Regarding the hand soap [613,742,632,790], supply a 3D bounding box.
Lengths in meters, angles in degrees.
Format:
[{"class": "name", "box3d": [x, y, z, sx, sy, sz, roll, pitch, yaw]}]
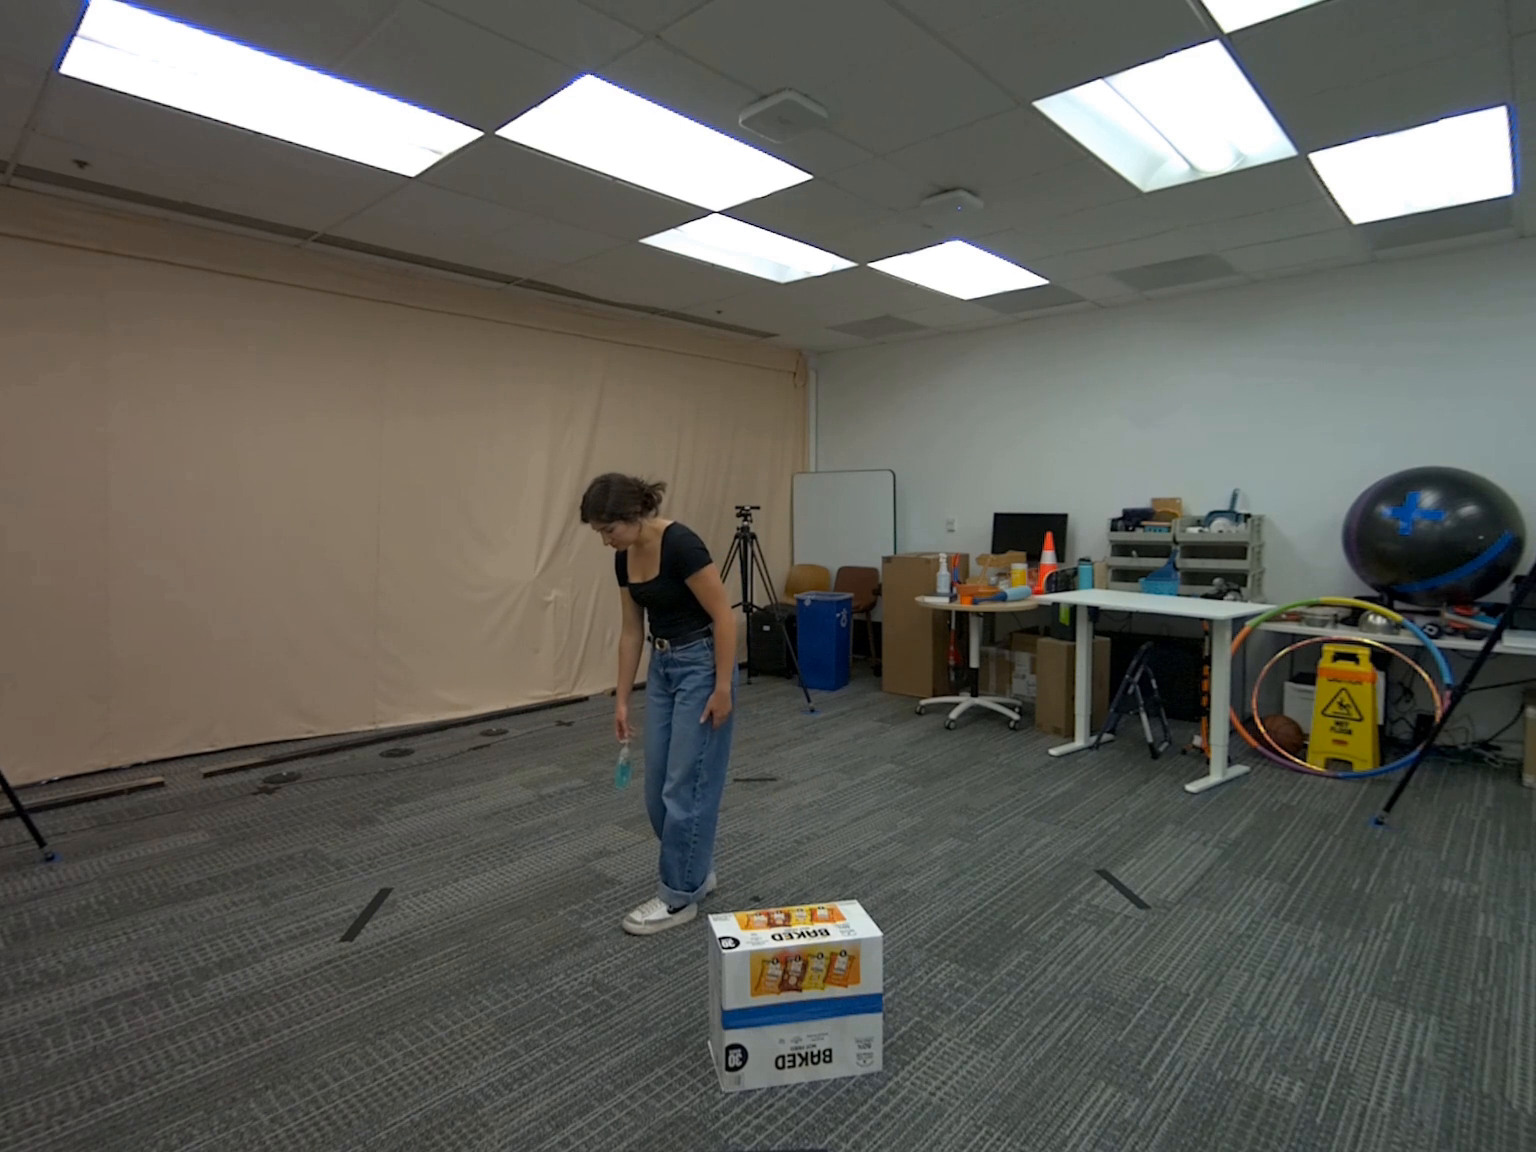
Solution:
[{"class": "hand soap", "box3d": [-0.490, 0.646, 2.890, 0.044, 0.168, 0.082, 10, 3, 25]}]
